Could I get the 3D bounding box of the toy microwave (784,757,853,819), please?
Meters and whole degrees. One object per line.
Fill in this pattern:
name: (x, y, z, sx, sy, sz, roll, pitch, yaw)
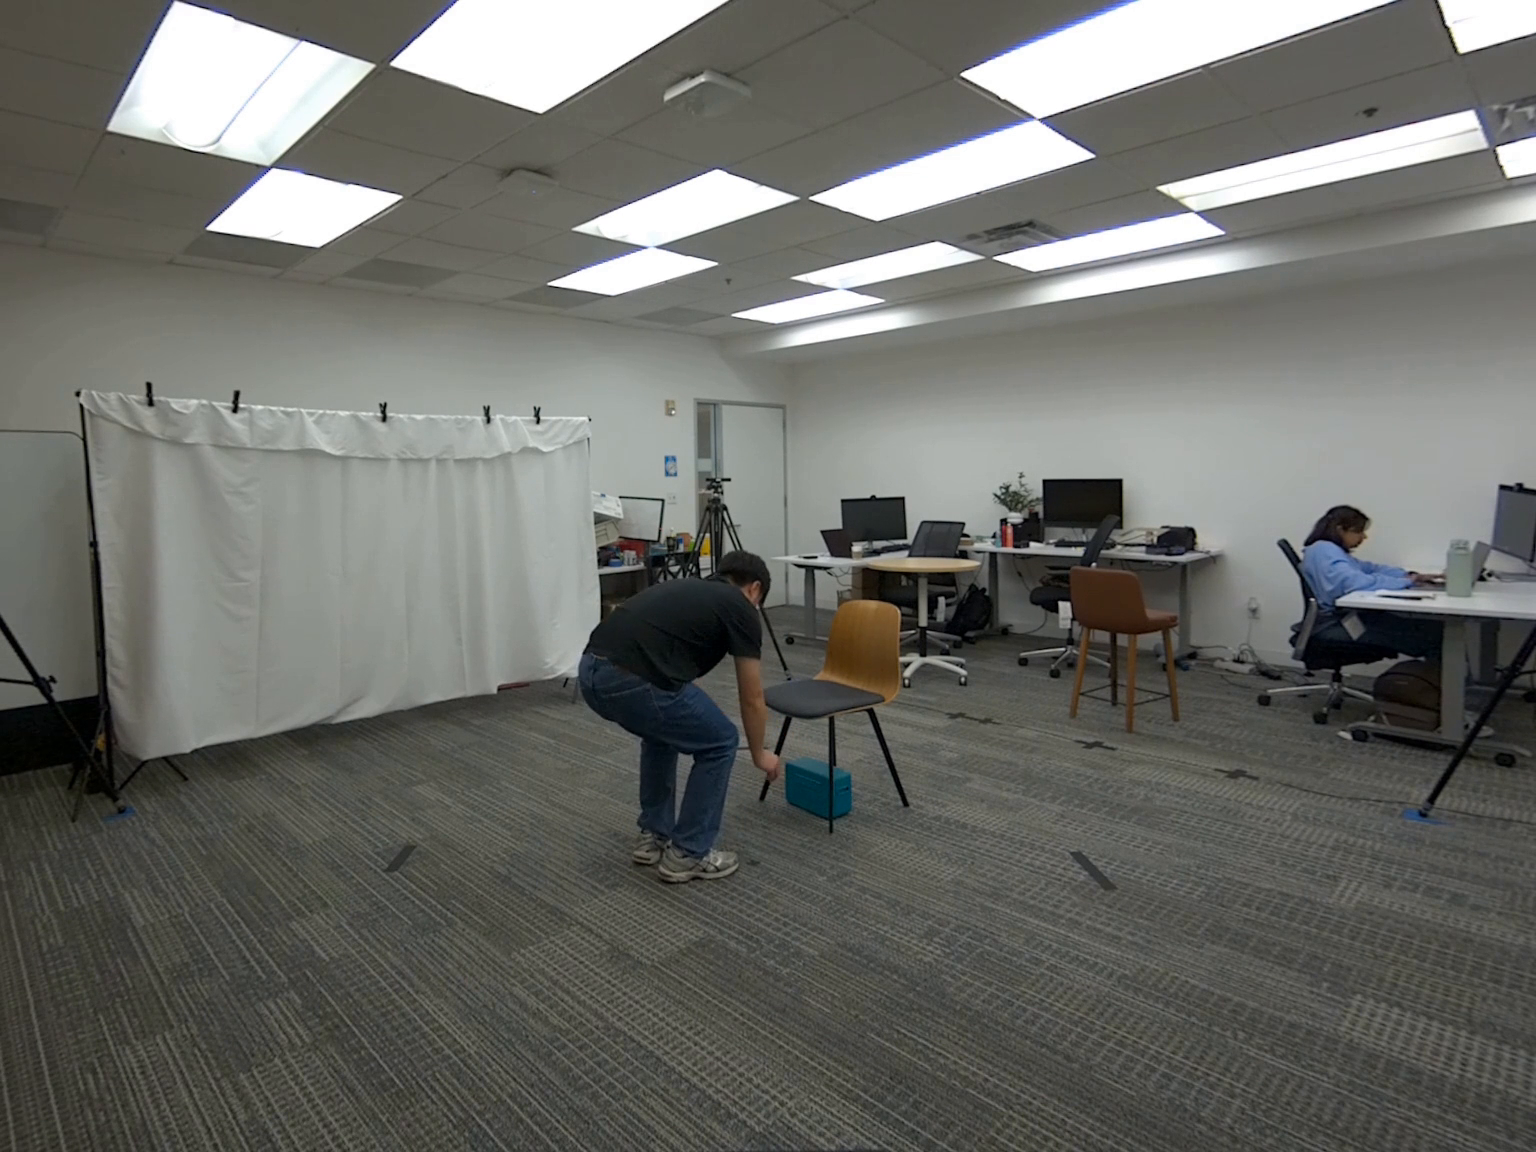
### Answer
toy microwave: (0.217, 0.891, 3.611, 0.148, 0.183, 0.295, -4, 7, -38)
